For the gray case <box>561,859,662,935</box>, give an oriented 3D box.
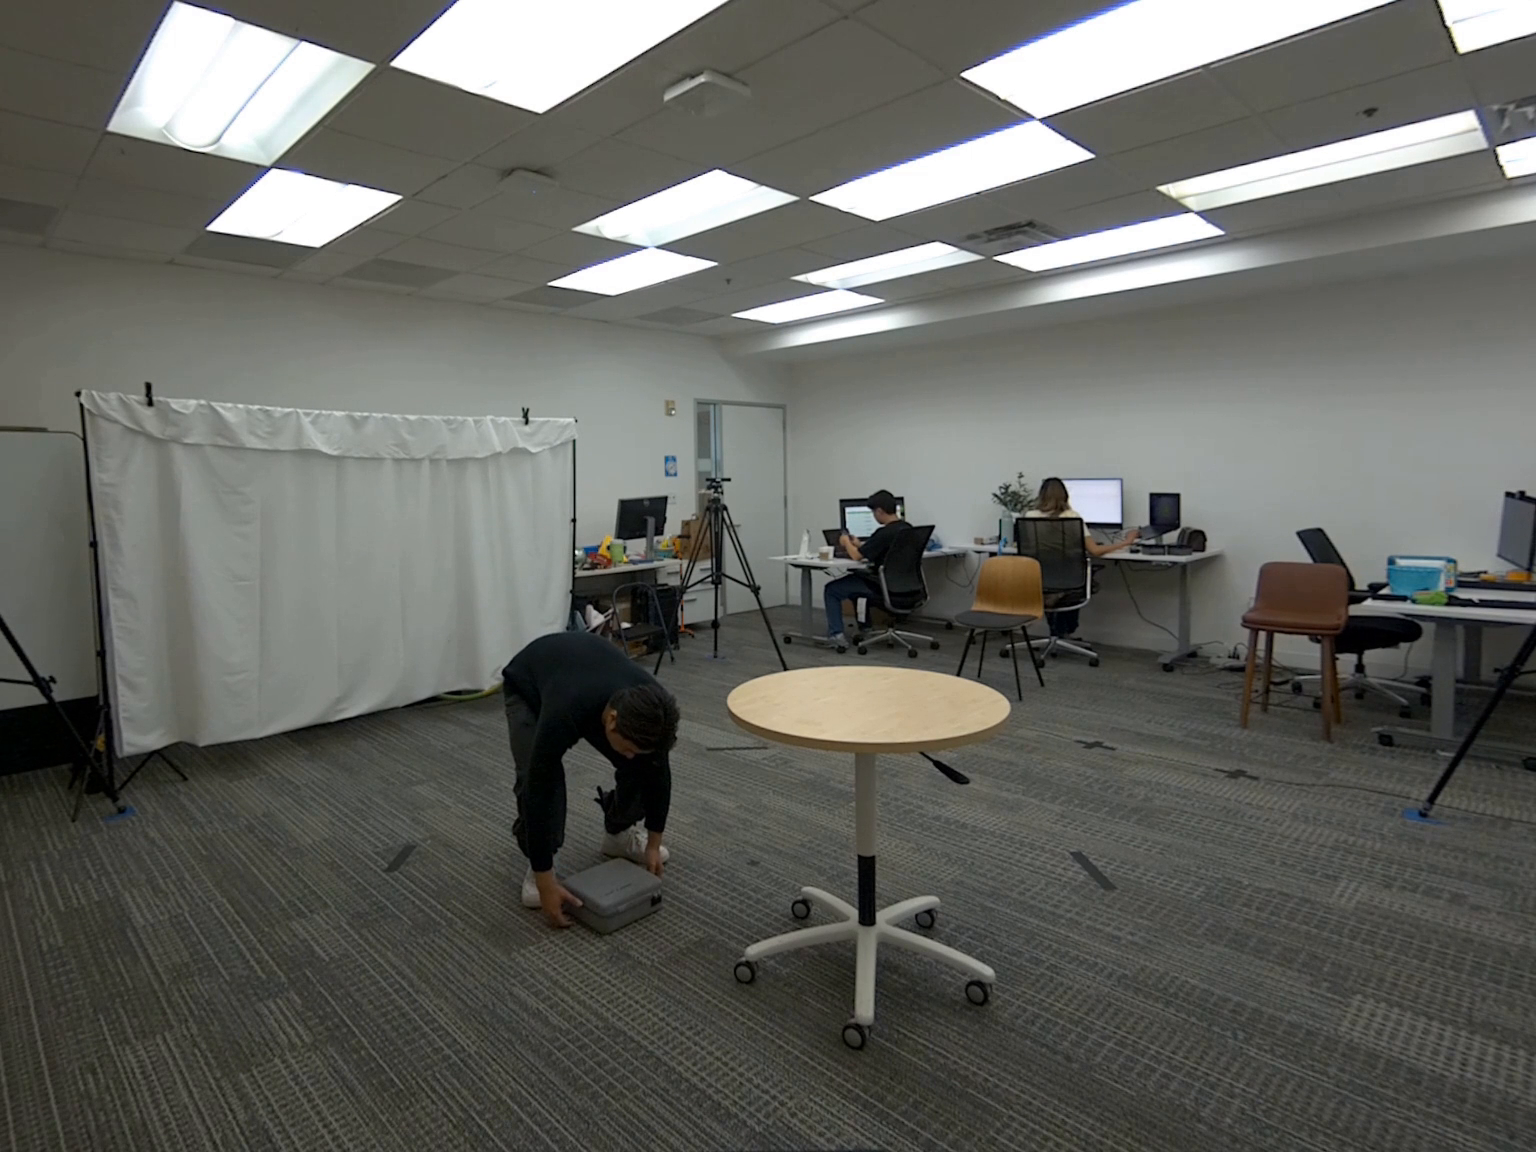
[{"bbox_3d":[-0.514,1.031,2.786,0.269,0.104,0.251,5,11,43],"label":"gray case"}]
